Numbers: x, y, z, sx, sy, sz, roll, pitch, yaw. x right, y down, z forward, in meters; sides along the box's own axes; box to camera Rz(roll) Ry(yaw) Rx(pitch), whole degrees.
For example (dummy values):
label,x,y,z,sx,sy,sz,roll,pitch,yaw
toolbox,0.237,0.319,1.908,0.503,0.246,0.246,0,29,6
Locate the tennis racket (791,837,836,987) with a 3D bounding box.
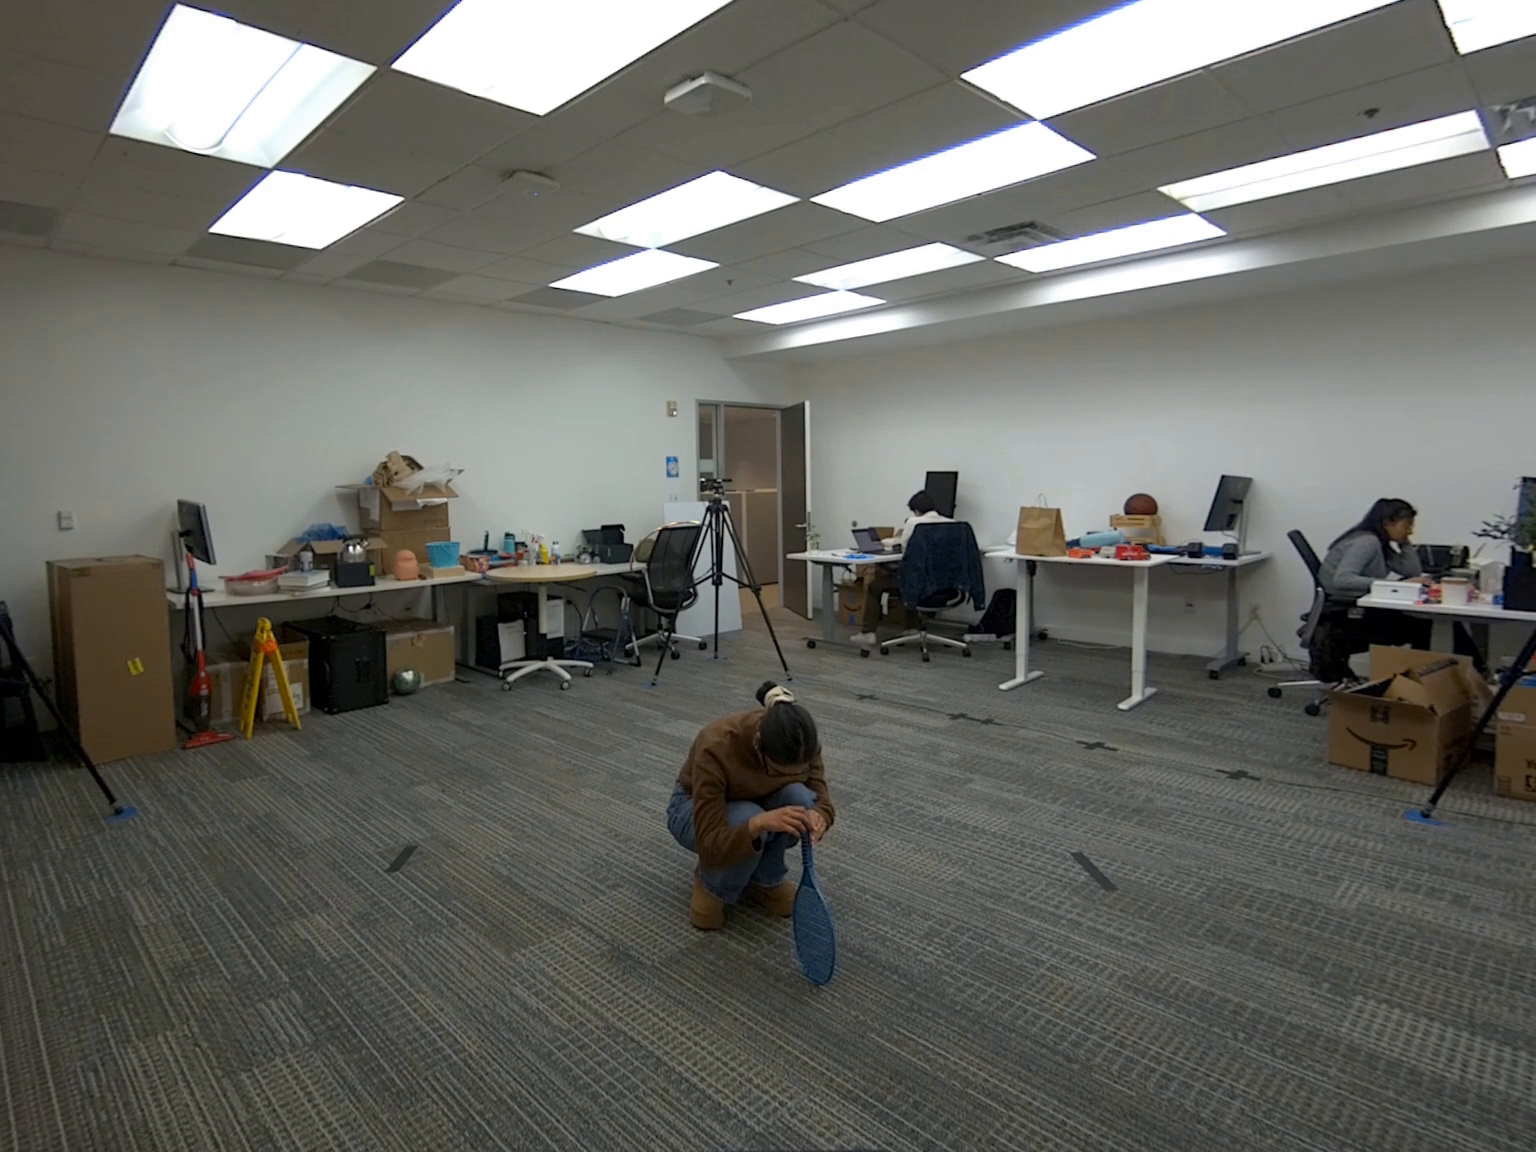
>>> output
label,x,y,z,sx,sy,sz,roll,pitch,yaw
tennis racket,0.124,0.918,2.389,0.031,0.437,0.216,1,-9,-25
